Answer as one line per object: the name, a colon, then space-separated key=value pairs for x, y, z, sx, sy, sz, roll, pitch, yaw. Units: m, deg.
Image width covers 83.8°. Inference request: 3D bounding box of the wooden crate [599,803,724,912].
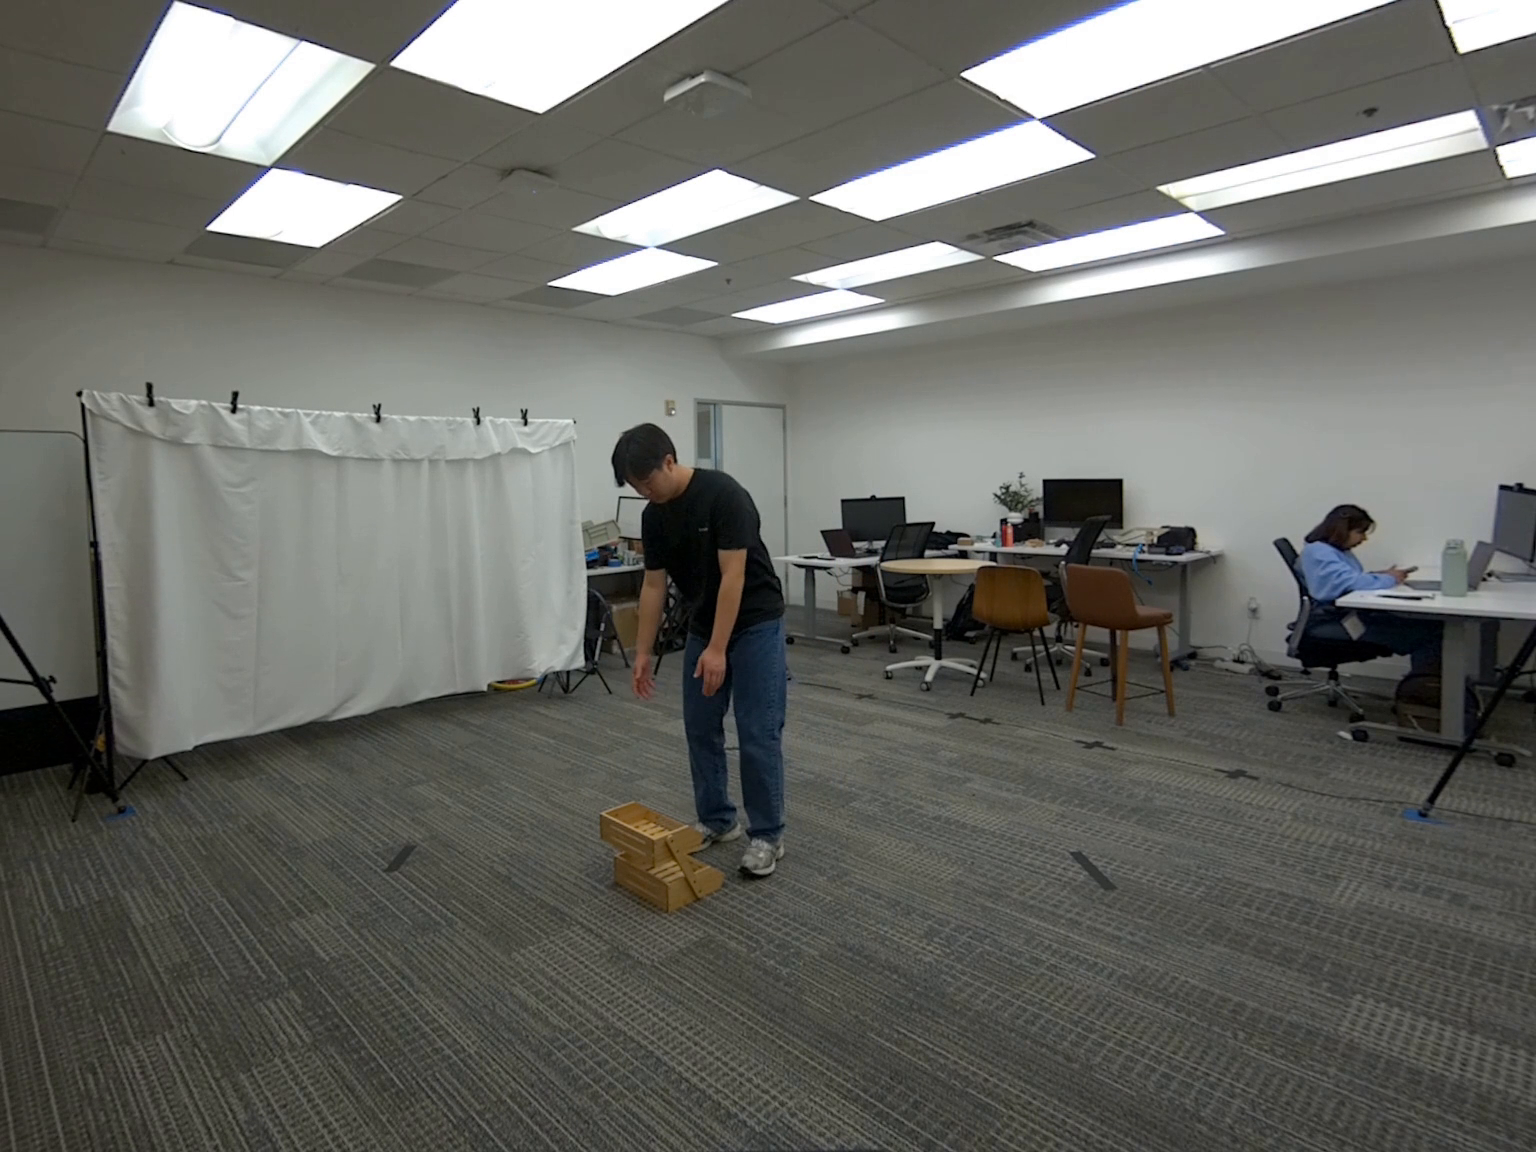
wooden crate: x=-0.357 y=0.934 z=2.926 sx=0.294 sy=0.272 sz=0.334 roll=-6 pitch=8 yaw=-44
